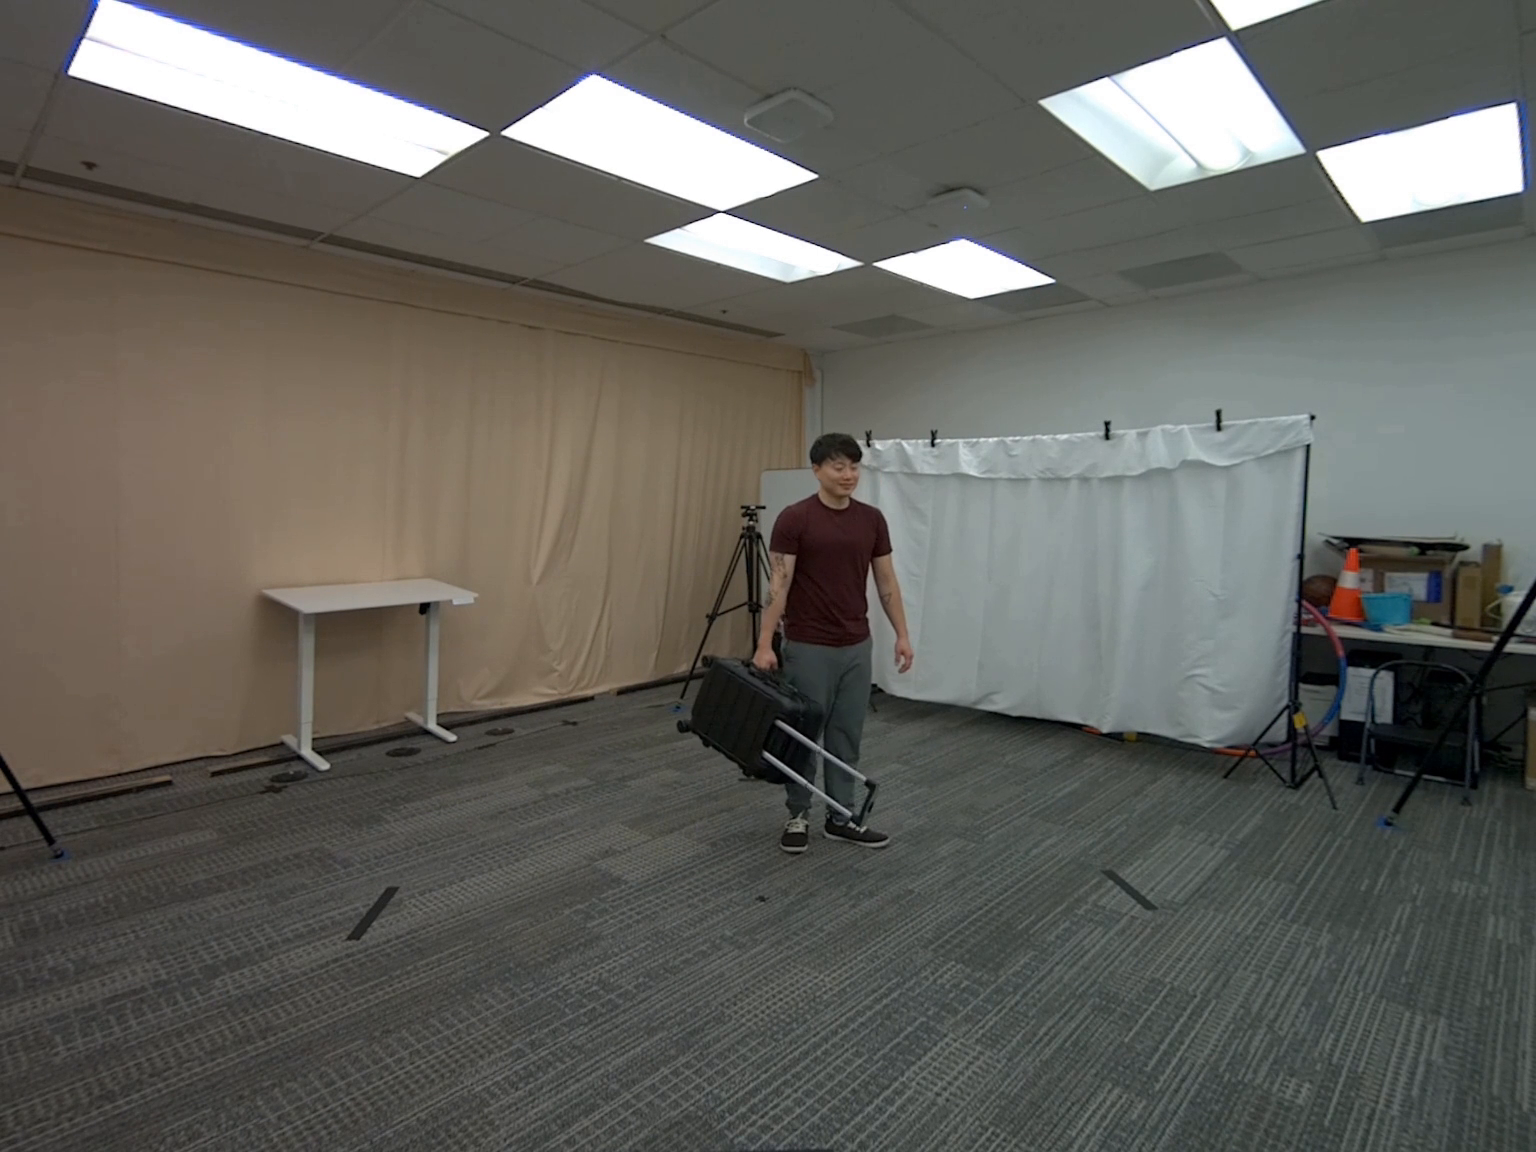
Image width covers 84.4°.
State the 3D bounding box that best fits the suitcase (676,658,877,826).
[{"bbox_3d":[0.077,0.627,3.217,0.248,0.384,1.015,17,4,-46],"label":"suitcase"}]
